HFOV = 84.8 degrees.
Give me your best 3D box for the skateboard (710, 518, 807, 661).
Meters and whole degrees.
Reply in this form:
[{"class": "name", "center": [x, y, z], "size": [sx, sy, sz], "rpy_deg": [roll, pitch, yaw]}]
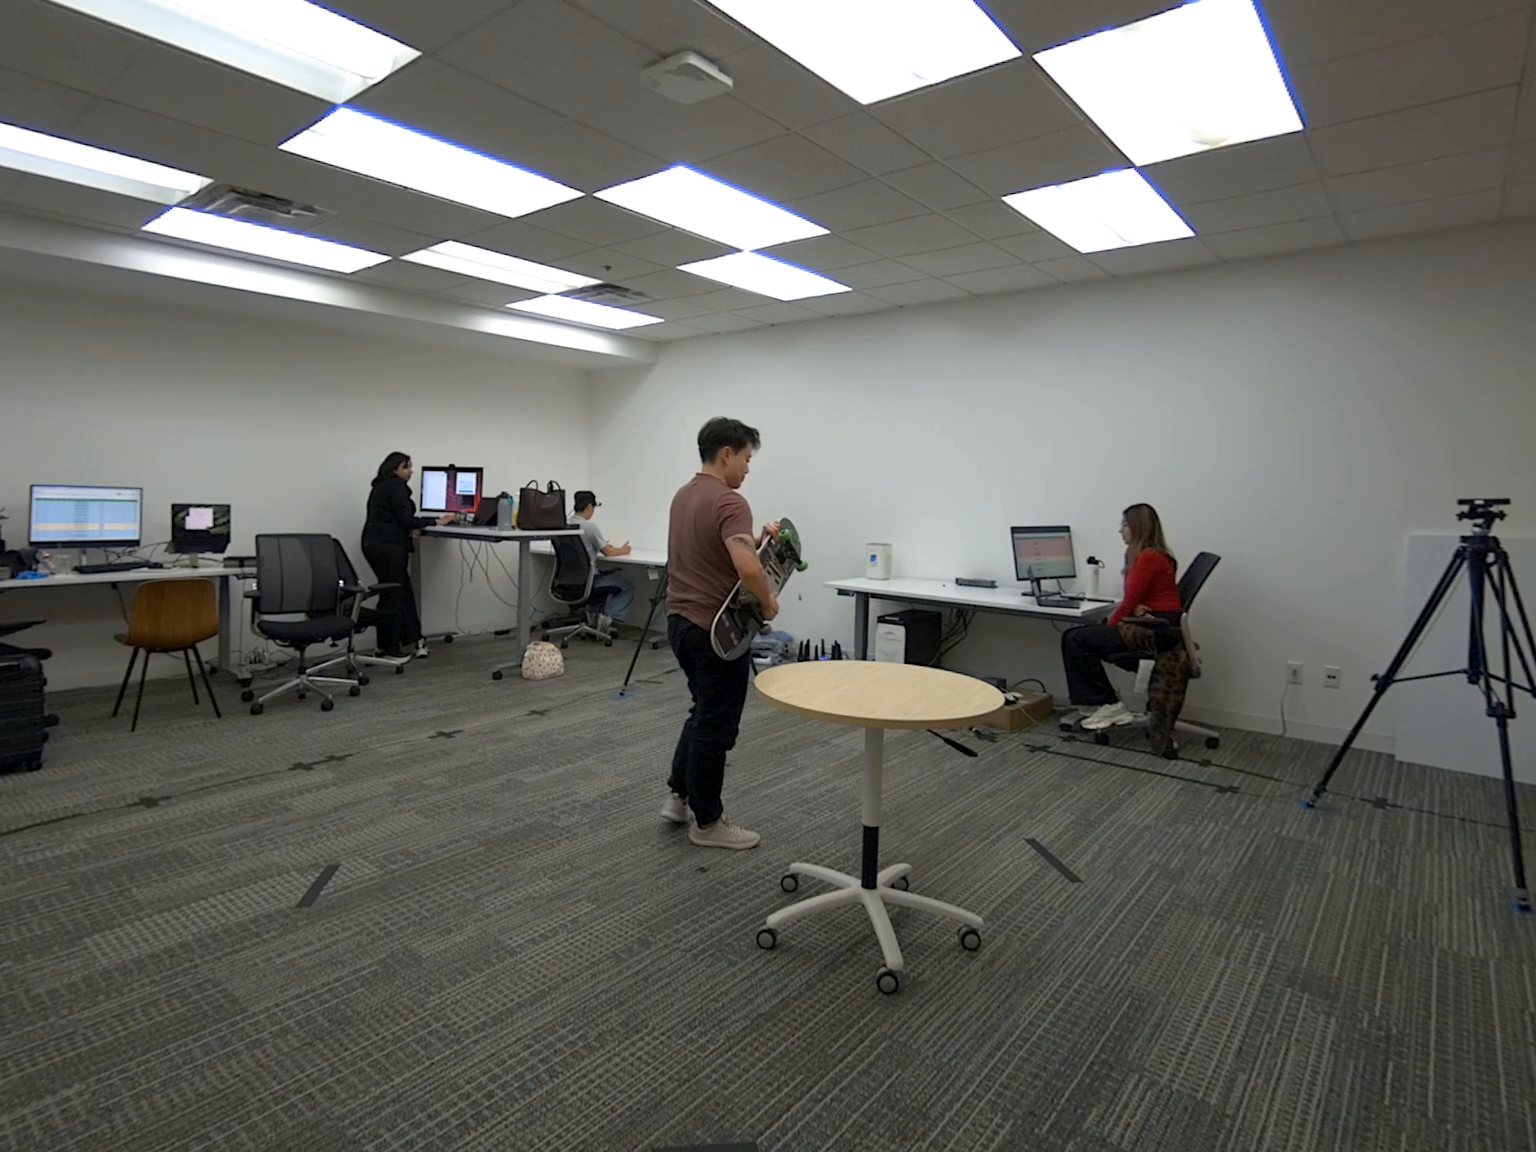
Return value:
[{"class": "skateboard", "center": [-0.007, 0.029, 3.265], "size": [0.113, 0.188, 0.789], "rpy_deg": [-13, 29, 36]}]
